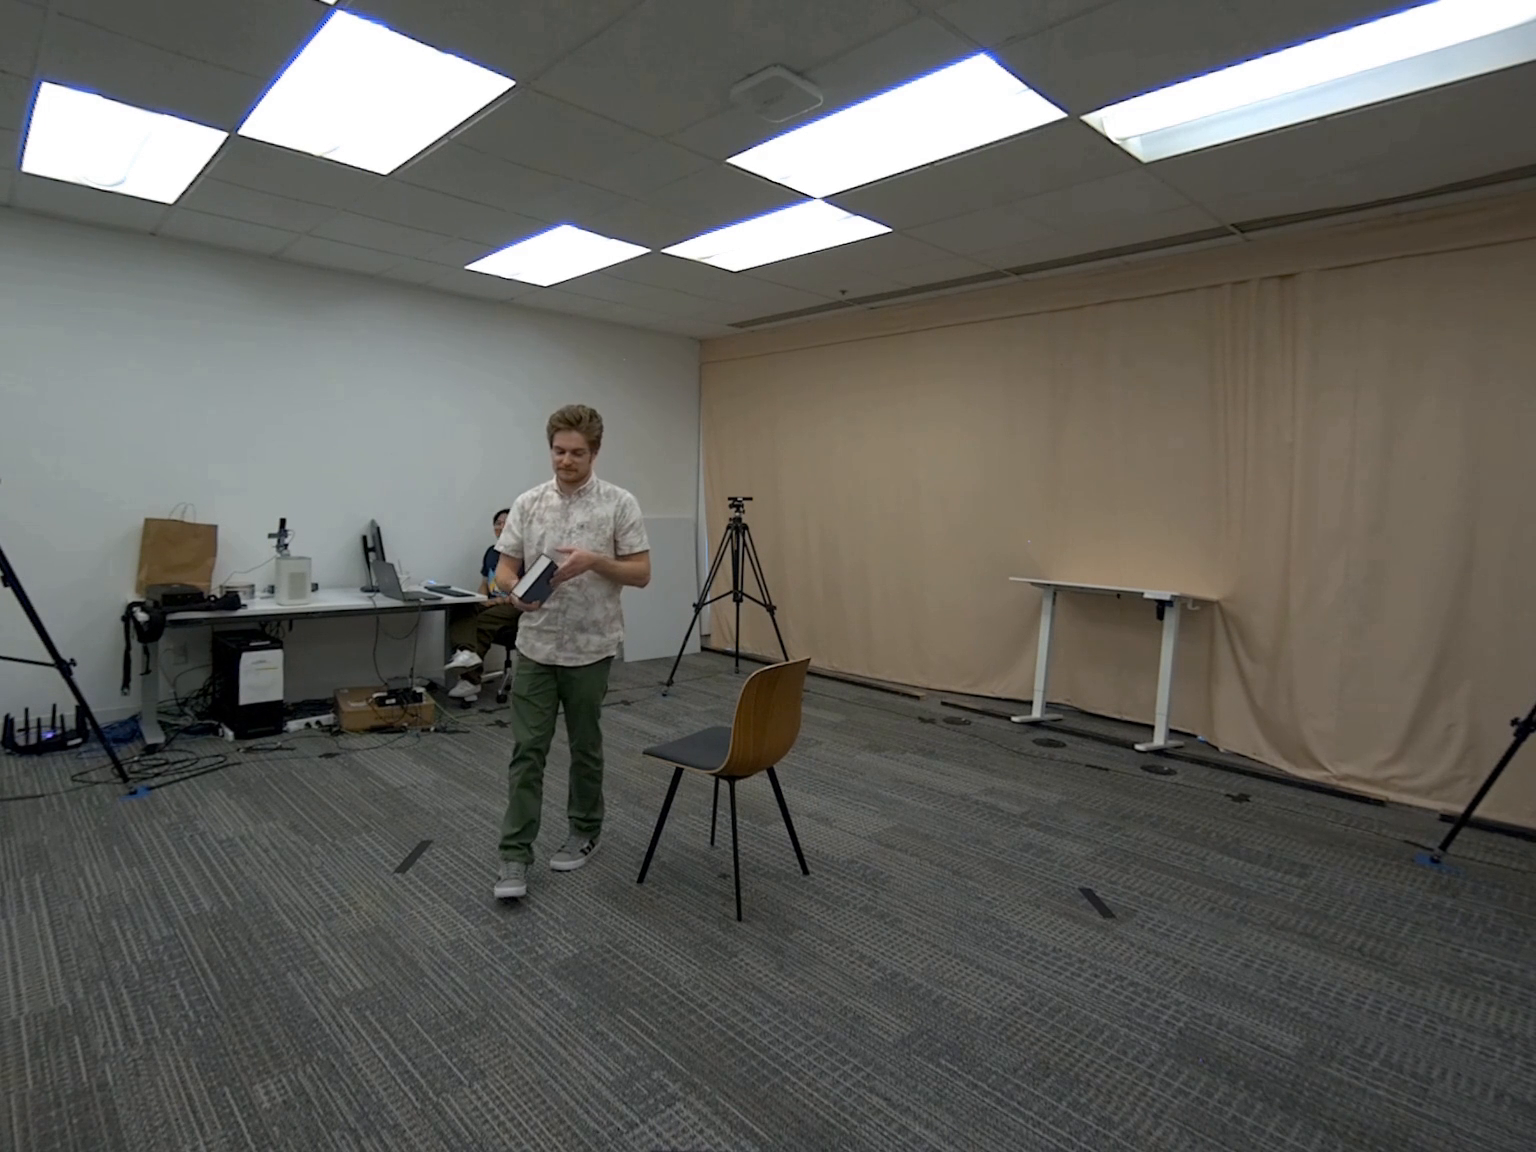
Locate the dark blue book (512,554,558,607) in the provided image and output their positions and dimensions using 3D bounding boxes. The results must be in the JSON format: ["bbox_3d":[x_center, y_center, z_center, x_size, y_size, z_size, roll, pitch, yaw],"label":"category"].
[{"bbox_3d":[-0.778,0.021,2.813,0.045,0.163,0.243,33,-9,5],"label":"dark blue book"}]
